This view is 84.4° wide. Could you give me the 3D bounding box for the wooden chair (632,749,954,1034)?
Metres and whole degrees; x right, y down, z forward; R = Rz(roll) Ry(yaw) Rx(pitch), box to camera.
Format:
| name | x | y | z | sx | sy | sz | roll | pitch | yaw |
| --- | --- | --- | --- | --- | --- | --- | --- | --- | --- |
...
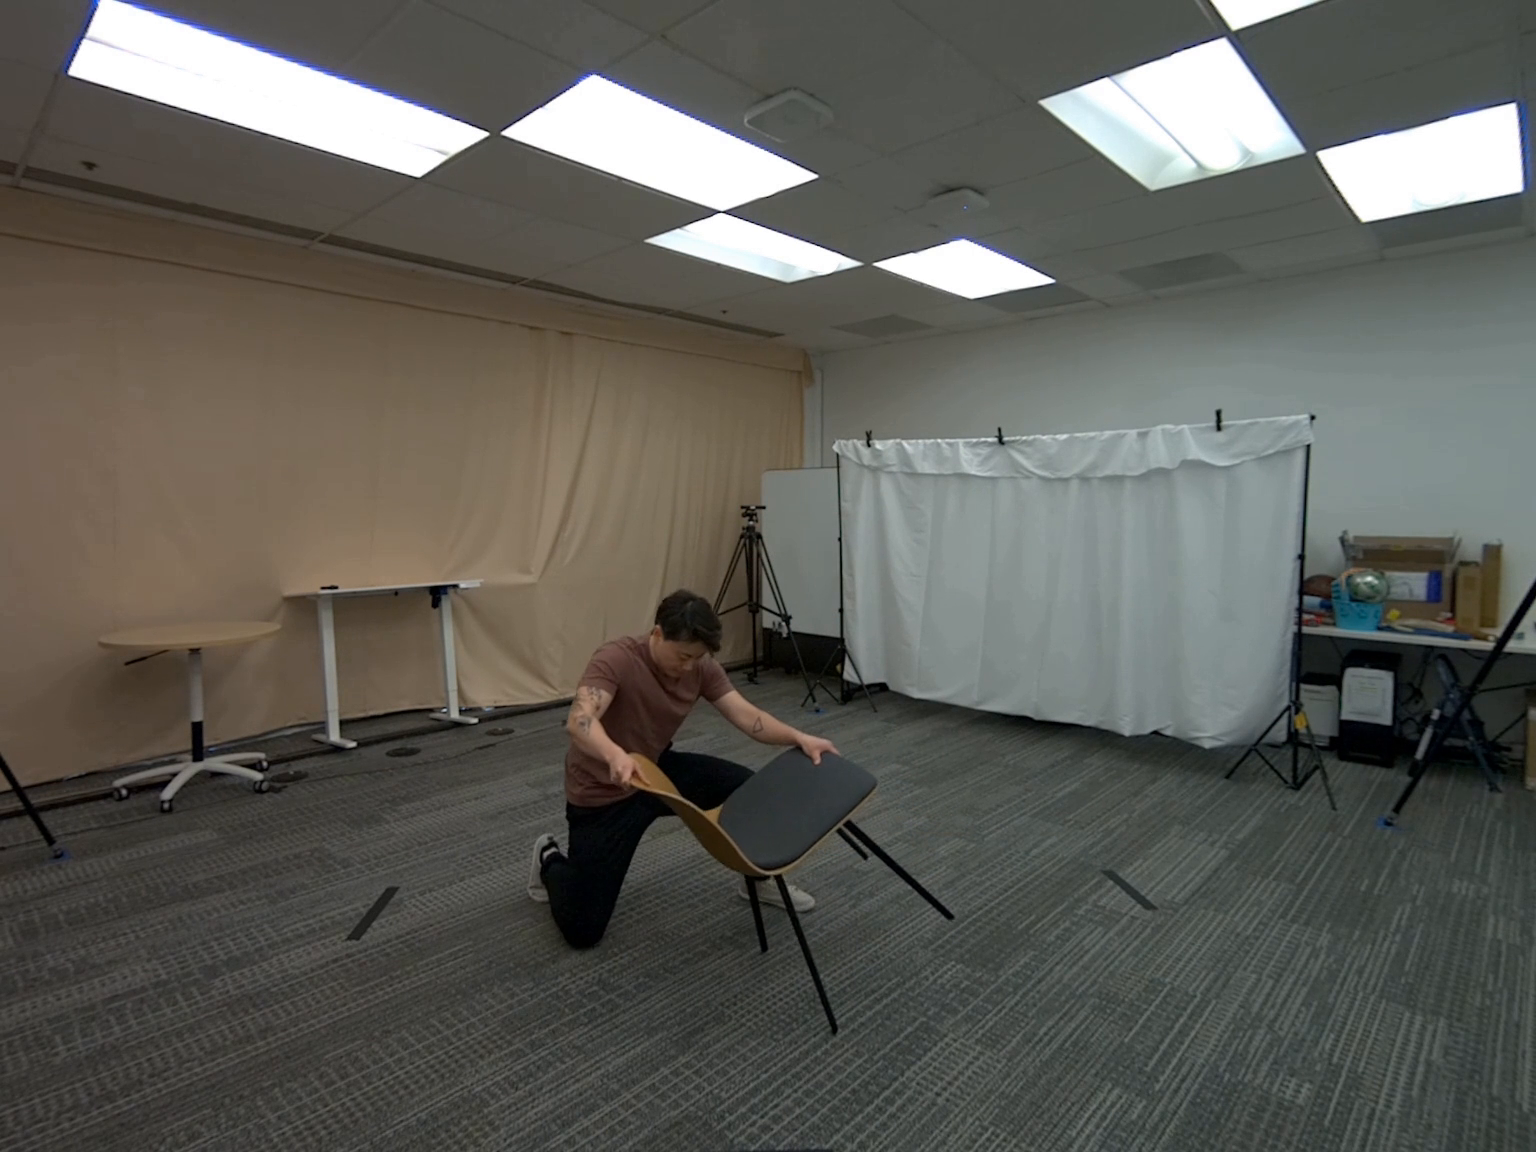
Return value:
| name | x | y | z | sx | sy | sz | roll | pitch | yaw |
| --- | --- | --- | --- | --- | --- | --- | --- | --- | --- |
| wooden chair | 0.056 | 0.711 | 2.384 | 0.519 | 0.862 | 0.489 | -40 | 16 | -16 |
